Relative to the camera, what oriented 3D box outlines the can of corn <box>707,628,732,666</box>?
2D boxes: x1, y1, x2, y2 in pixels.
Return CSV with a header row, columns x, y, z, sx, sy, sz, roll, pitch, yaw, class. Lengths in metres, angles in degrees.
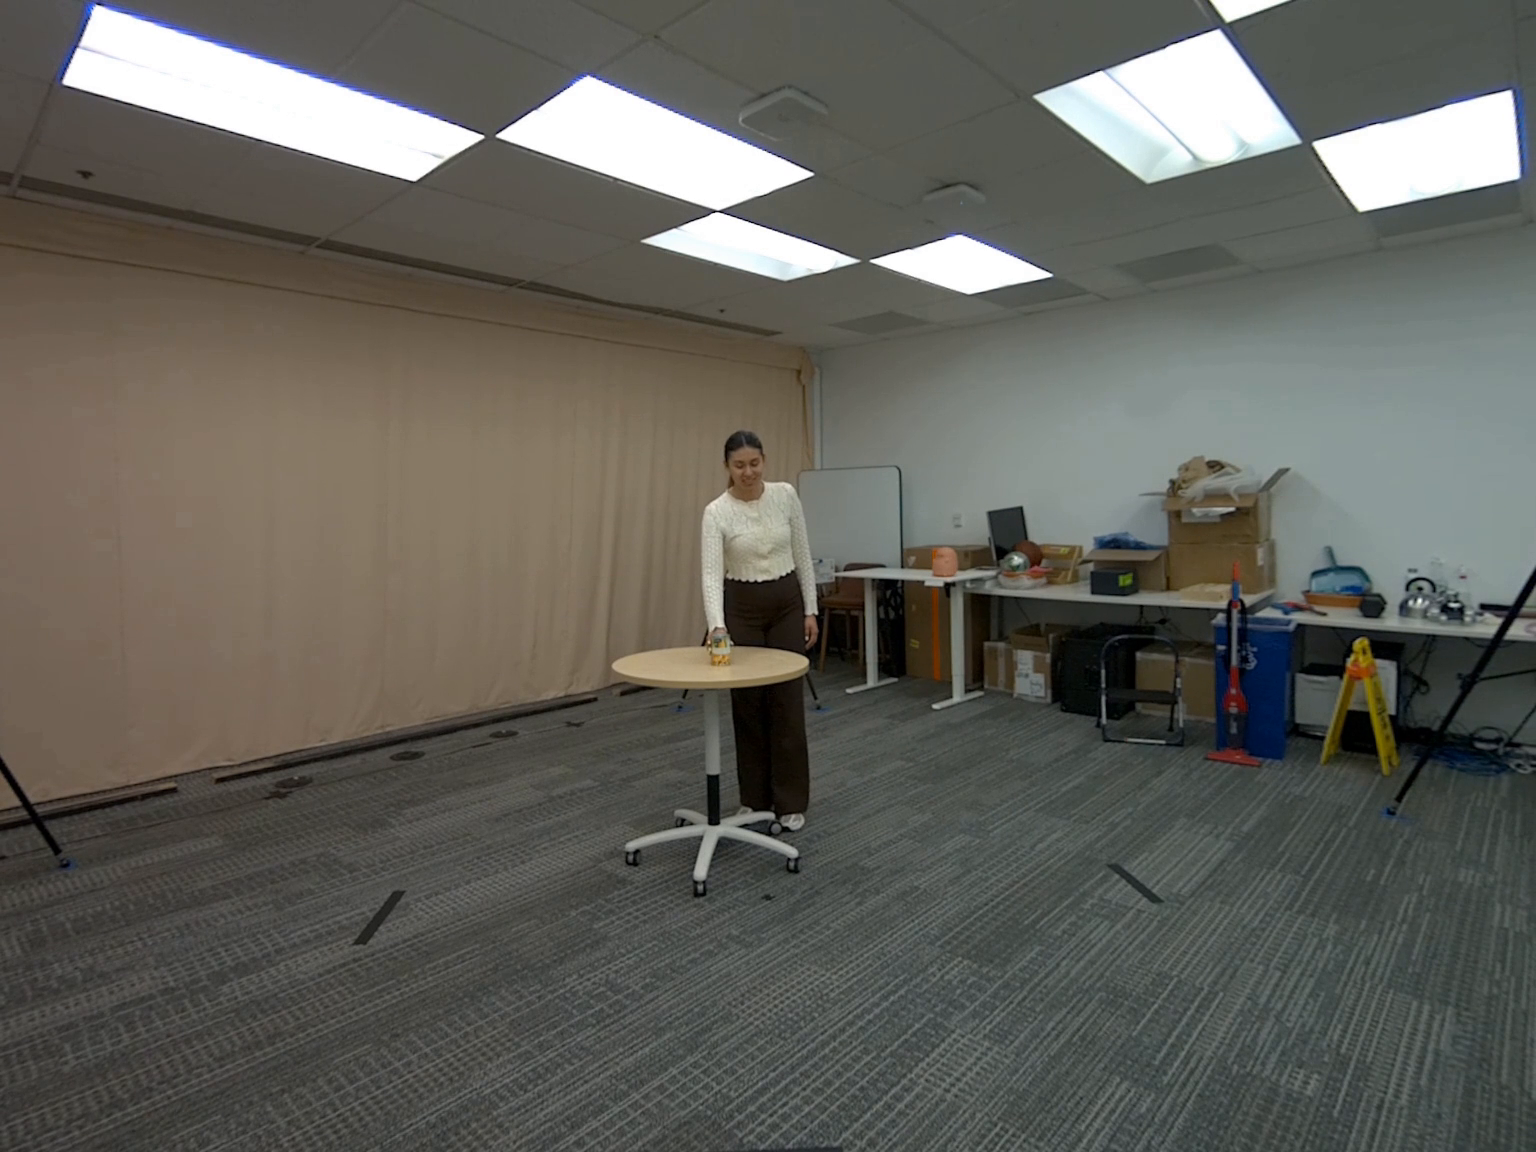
x,y,z,sx,sy,sz,roll,pitch,yaw,class
-0.179,0.280,3.230,0.074,0.111,0.074,2,1,-2,can of corn
